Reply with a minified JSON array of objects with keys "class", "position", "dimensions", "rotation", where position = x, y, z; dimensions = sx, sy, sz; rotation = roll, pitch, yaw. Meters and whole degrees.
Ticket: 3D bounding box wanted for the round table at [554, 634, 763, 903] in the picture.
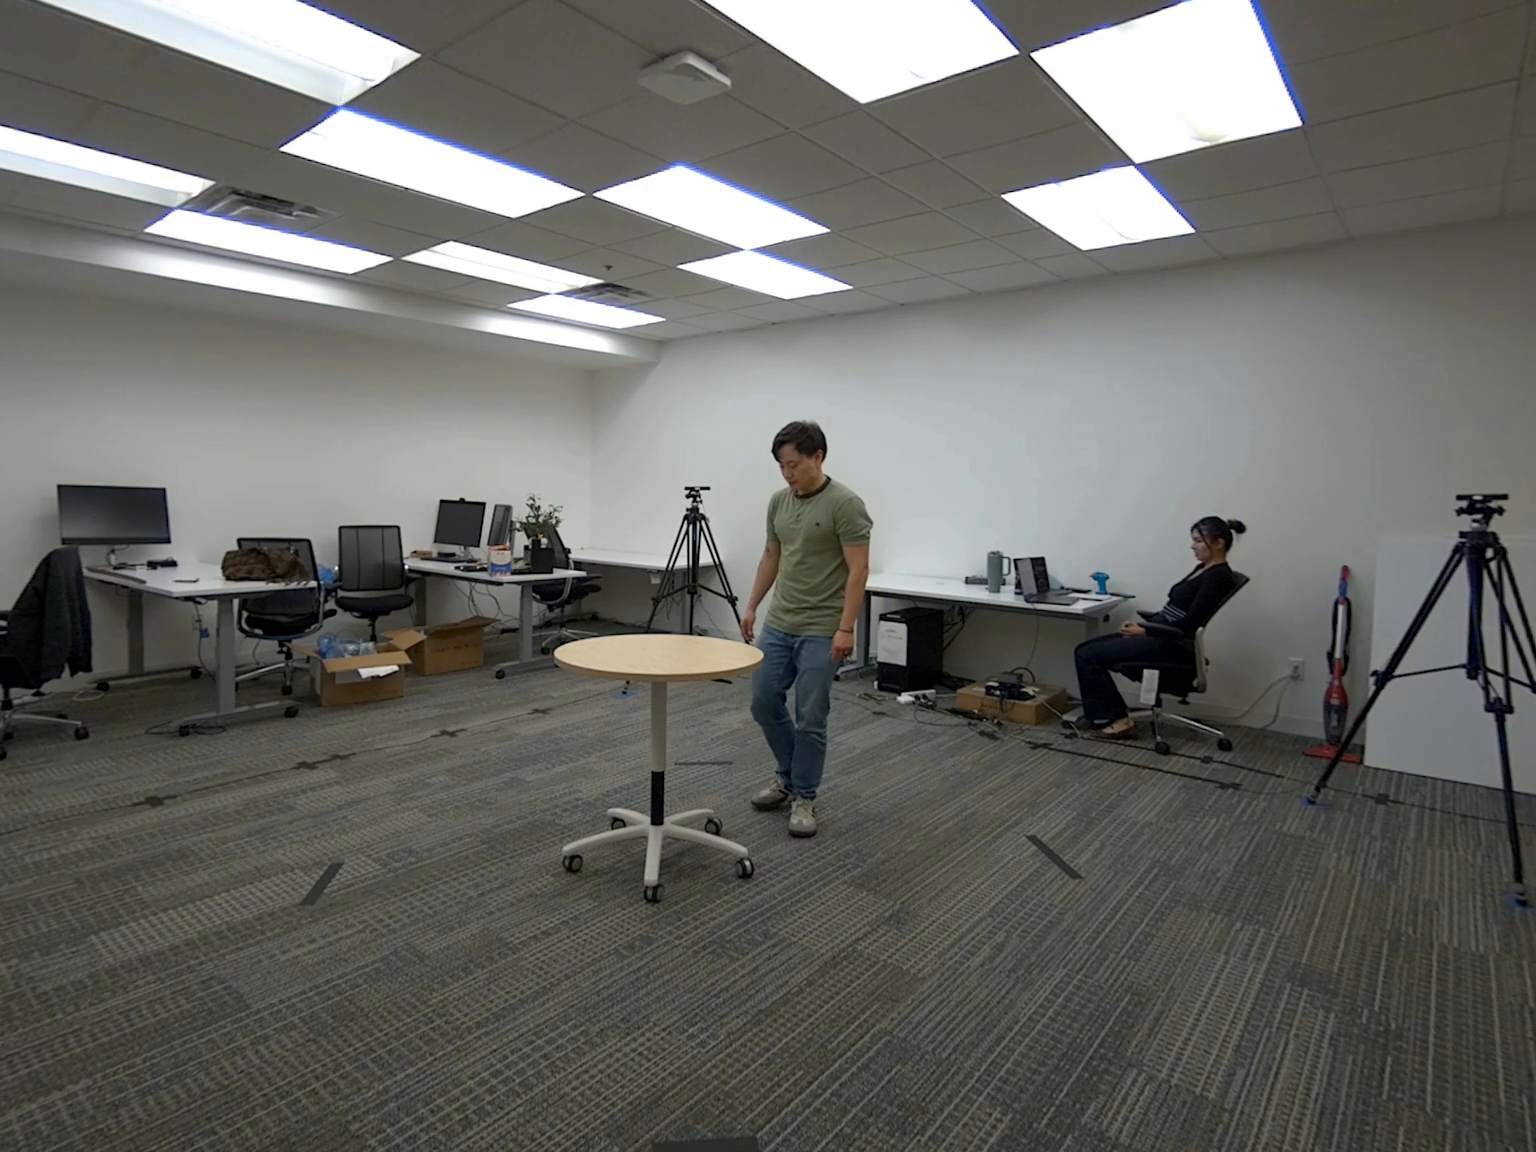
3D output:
[{"class":"round table","position":[-0.415,0.671,3.140],"dimensions":[0.763,0.792,0.767],"rotation":[1,4,-2]}]
